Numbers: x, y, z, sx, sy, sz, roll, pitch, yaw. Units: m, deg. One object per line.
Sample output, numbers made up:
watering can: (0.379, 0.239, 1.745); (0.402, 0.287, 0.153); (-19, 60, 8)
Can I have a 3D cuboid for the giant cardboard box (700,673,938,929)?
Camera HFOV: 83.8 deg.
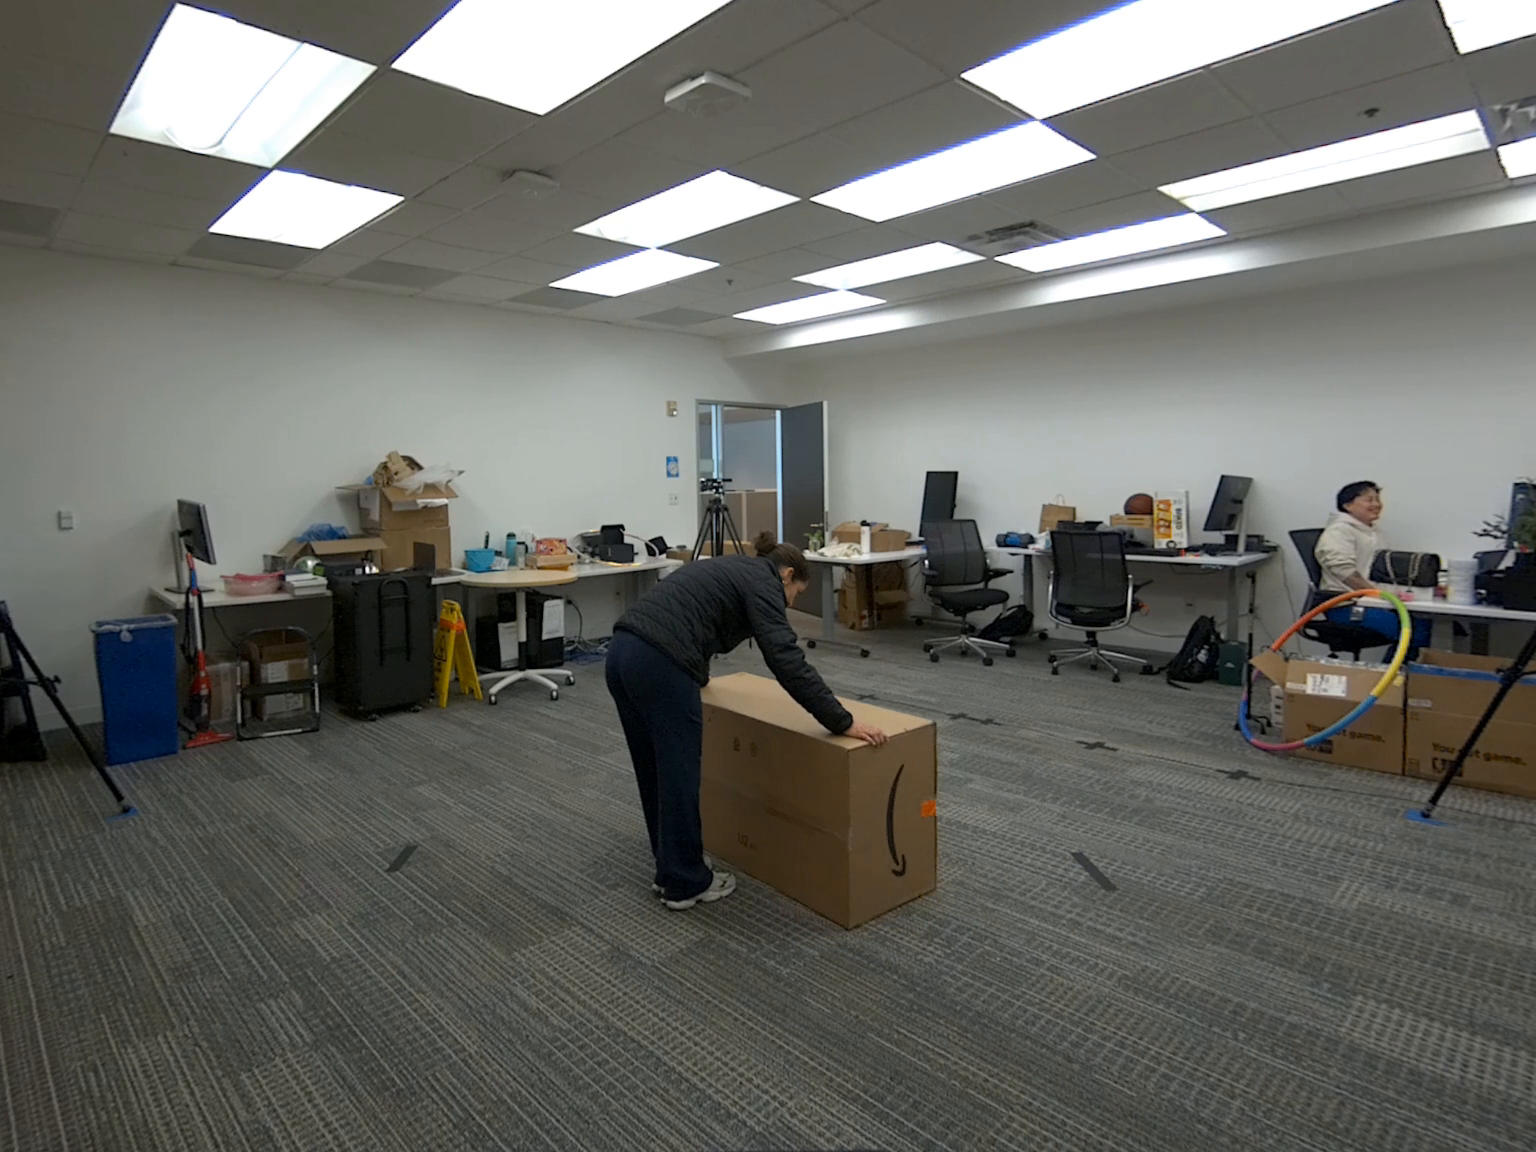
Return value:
giant cardboard box: (0.073, 0.751, 3.160); (0.435, 0.581, 1.059); (-6, 8, -39)
